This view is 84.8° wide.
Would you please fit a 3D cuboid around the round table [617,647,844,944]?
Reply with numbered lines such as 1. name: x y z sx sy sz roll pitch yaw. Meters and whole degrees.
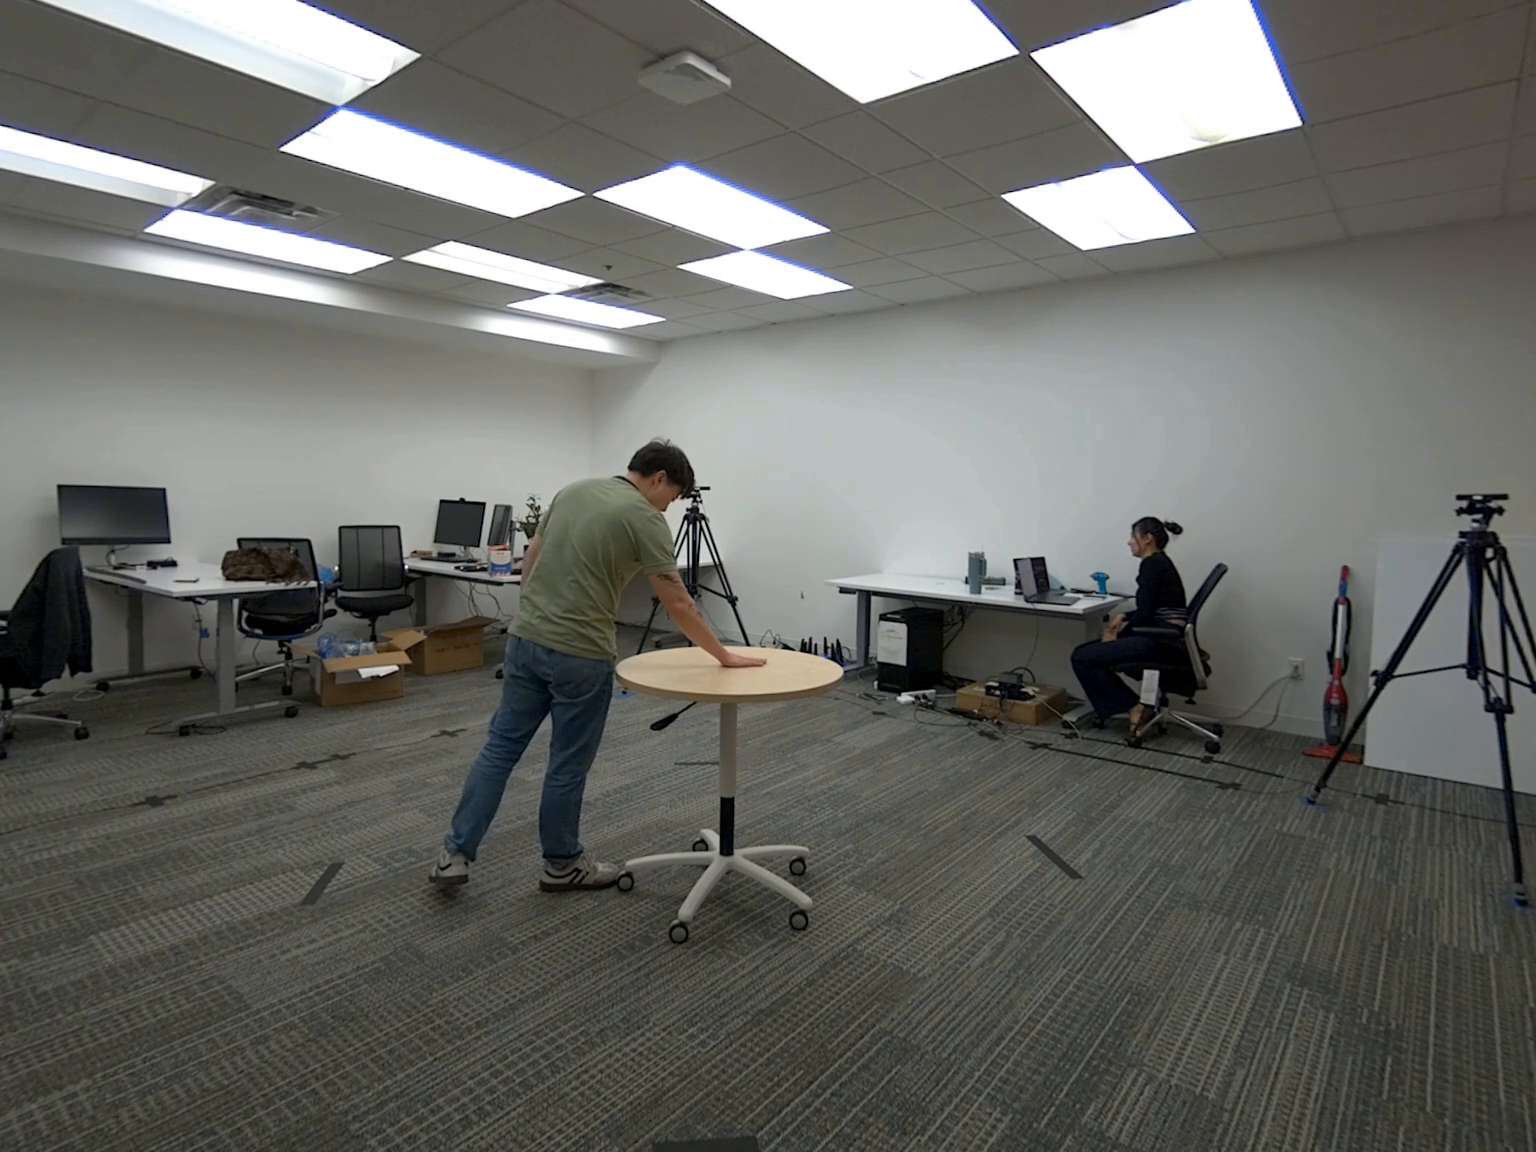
1. round table: -0.145 0.701 2.890 0.763 0.791 0.768 0 4 -2
